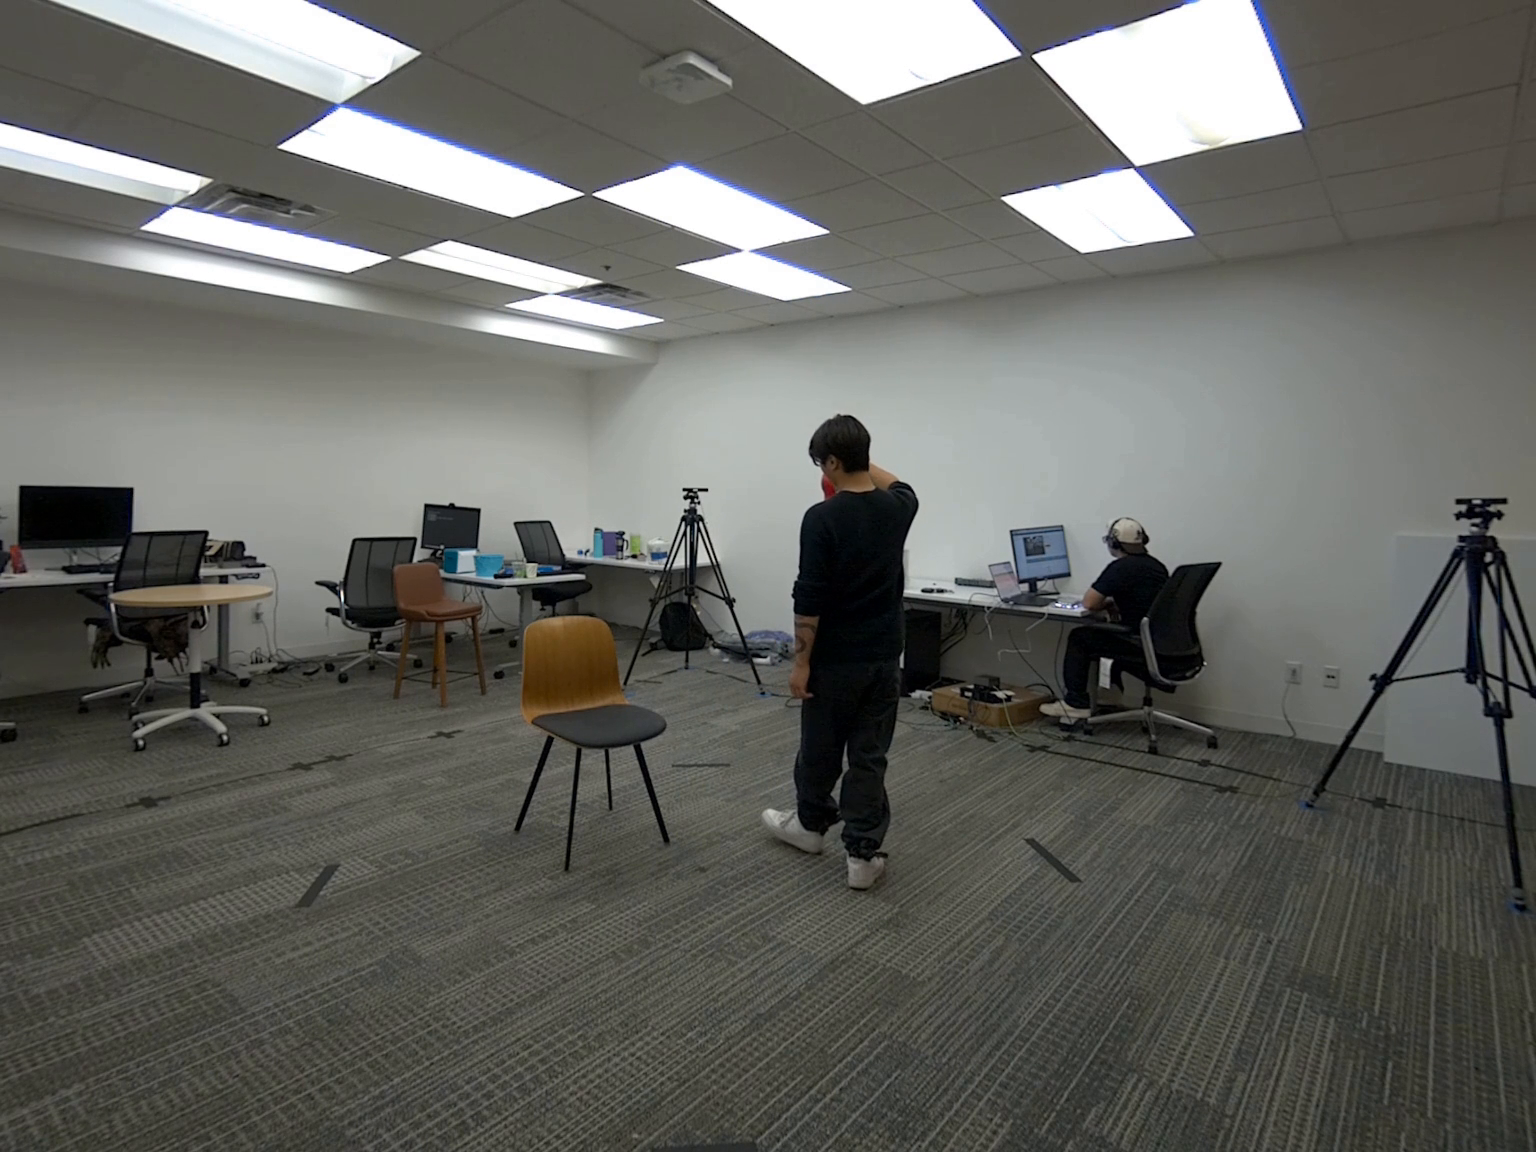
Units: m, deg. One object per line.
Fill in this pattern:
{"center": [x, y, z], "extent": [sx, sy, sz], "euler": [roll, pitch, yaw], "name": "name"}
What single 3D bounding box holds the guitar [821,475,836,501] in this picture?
{"center": [0.294, -0.449, 3.614], "extent": [0.073, 0.491, 0.189], "euler": [9, 17, 38], "name": "guitar"}
